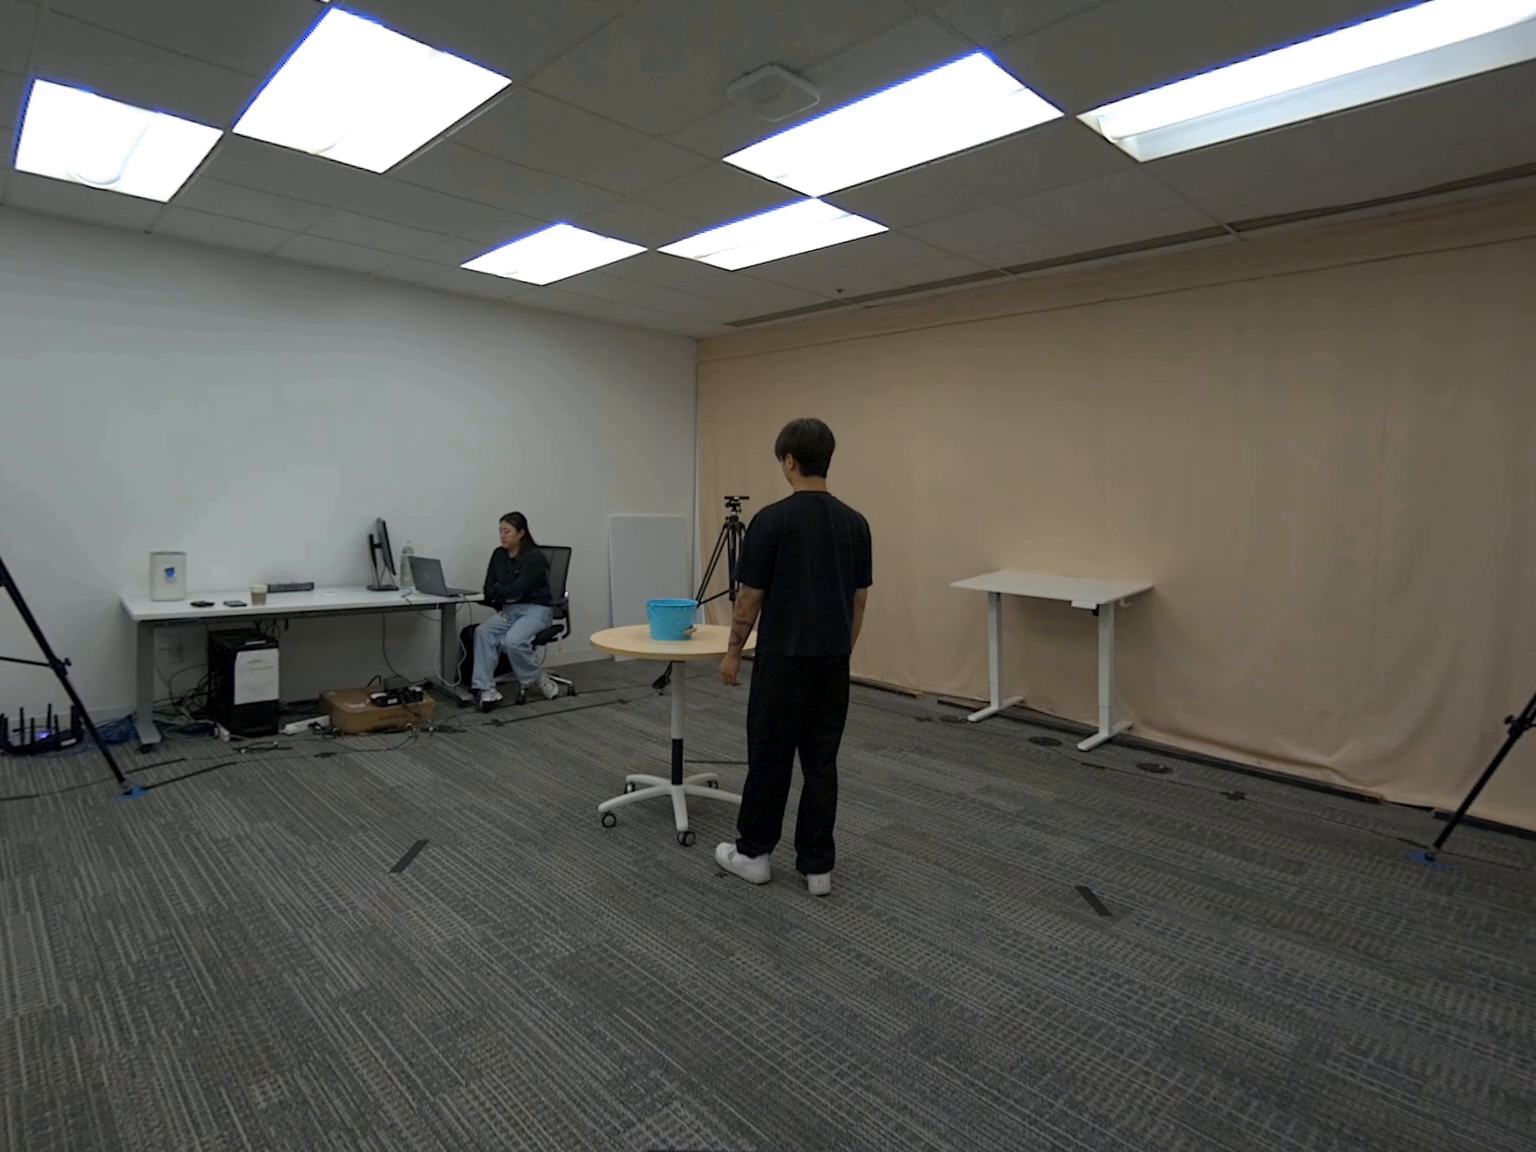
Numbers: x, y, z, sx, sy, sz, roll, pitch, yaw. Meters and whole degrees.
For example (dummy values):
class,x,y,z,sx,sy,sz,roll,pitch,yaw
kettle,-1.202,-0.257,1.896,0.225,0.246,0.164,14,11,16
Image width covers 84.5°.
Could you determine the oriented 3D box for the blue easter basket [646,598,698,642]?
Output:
class,x,y,z,sx,sy,sz,roll,pitch,yaw
blue easter basket,-0.431,0.191,3.646,0.243,0.155,0.244,1,4,-1
